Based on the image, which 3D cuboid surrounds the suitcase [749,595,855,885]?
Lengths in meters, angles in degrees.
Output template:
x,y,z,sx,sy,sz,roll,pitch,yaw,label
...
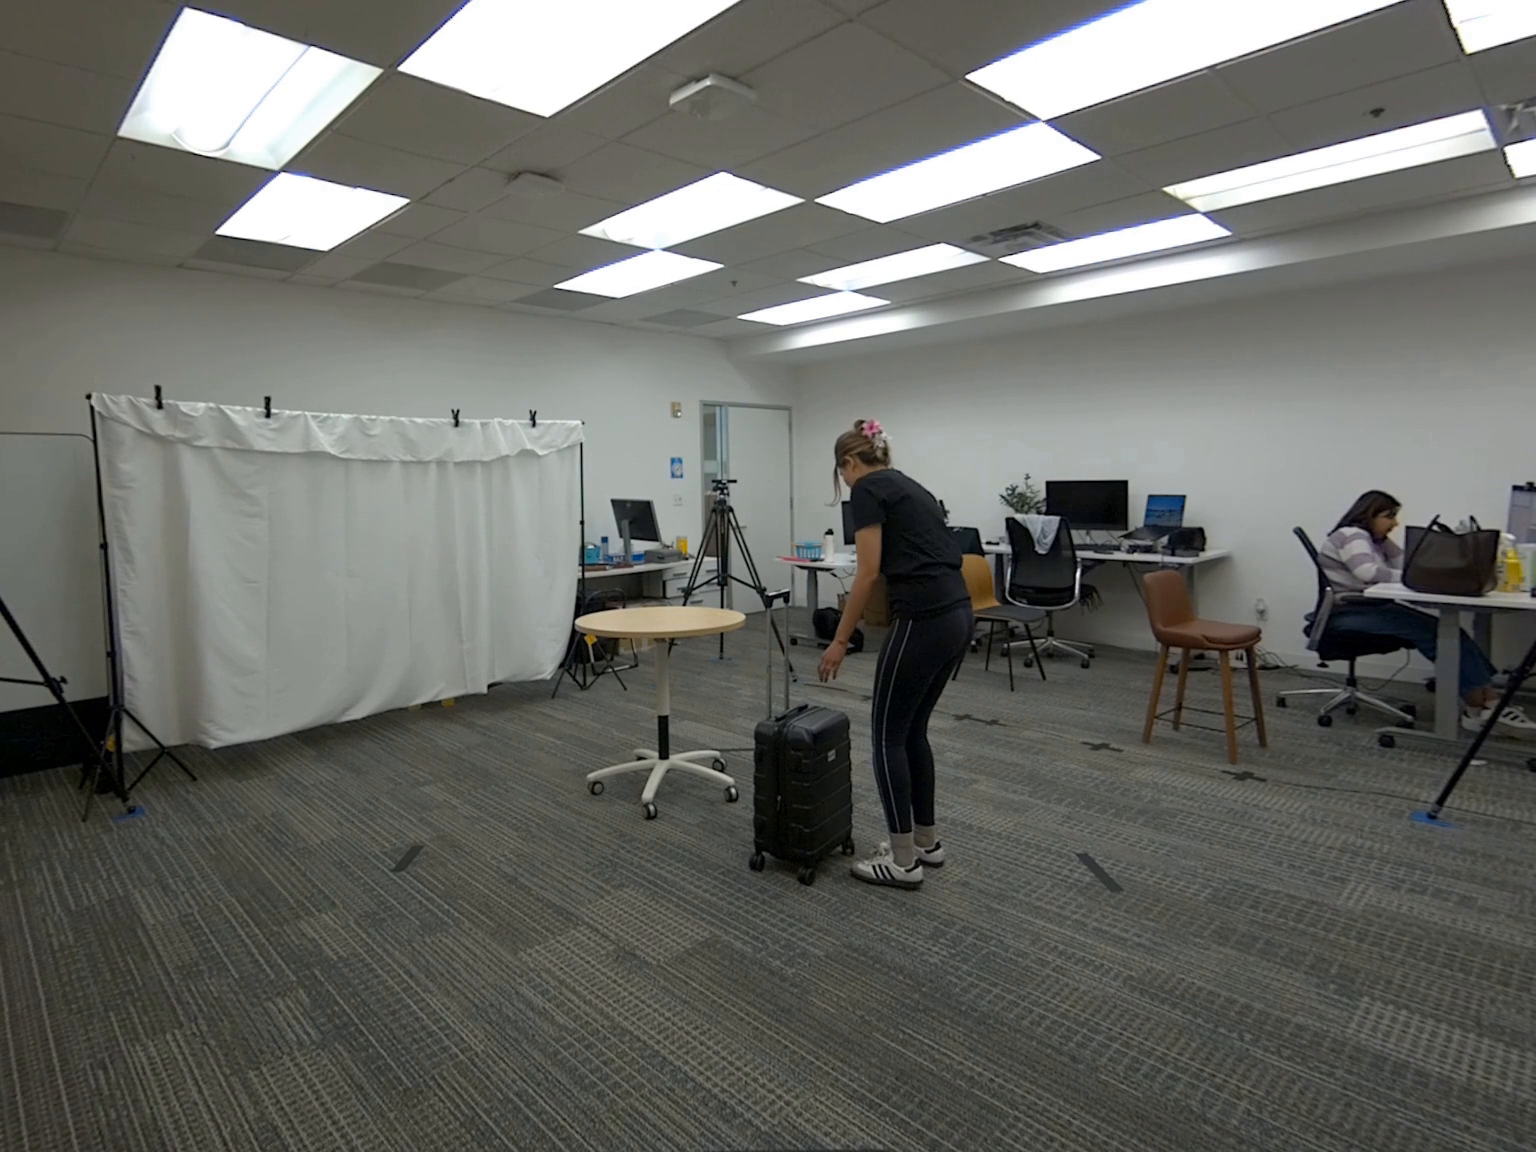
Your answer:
x,y,z,sx,sy,sz,roll,pitch,yaw,label
0.128,0.565,3.124,0.264,0.975,0.374,3,5,34,suitcase
